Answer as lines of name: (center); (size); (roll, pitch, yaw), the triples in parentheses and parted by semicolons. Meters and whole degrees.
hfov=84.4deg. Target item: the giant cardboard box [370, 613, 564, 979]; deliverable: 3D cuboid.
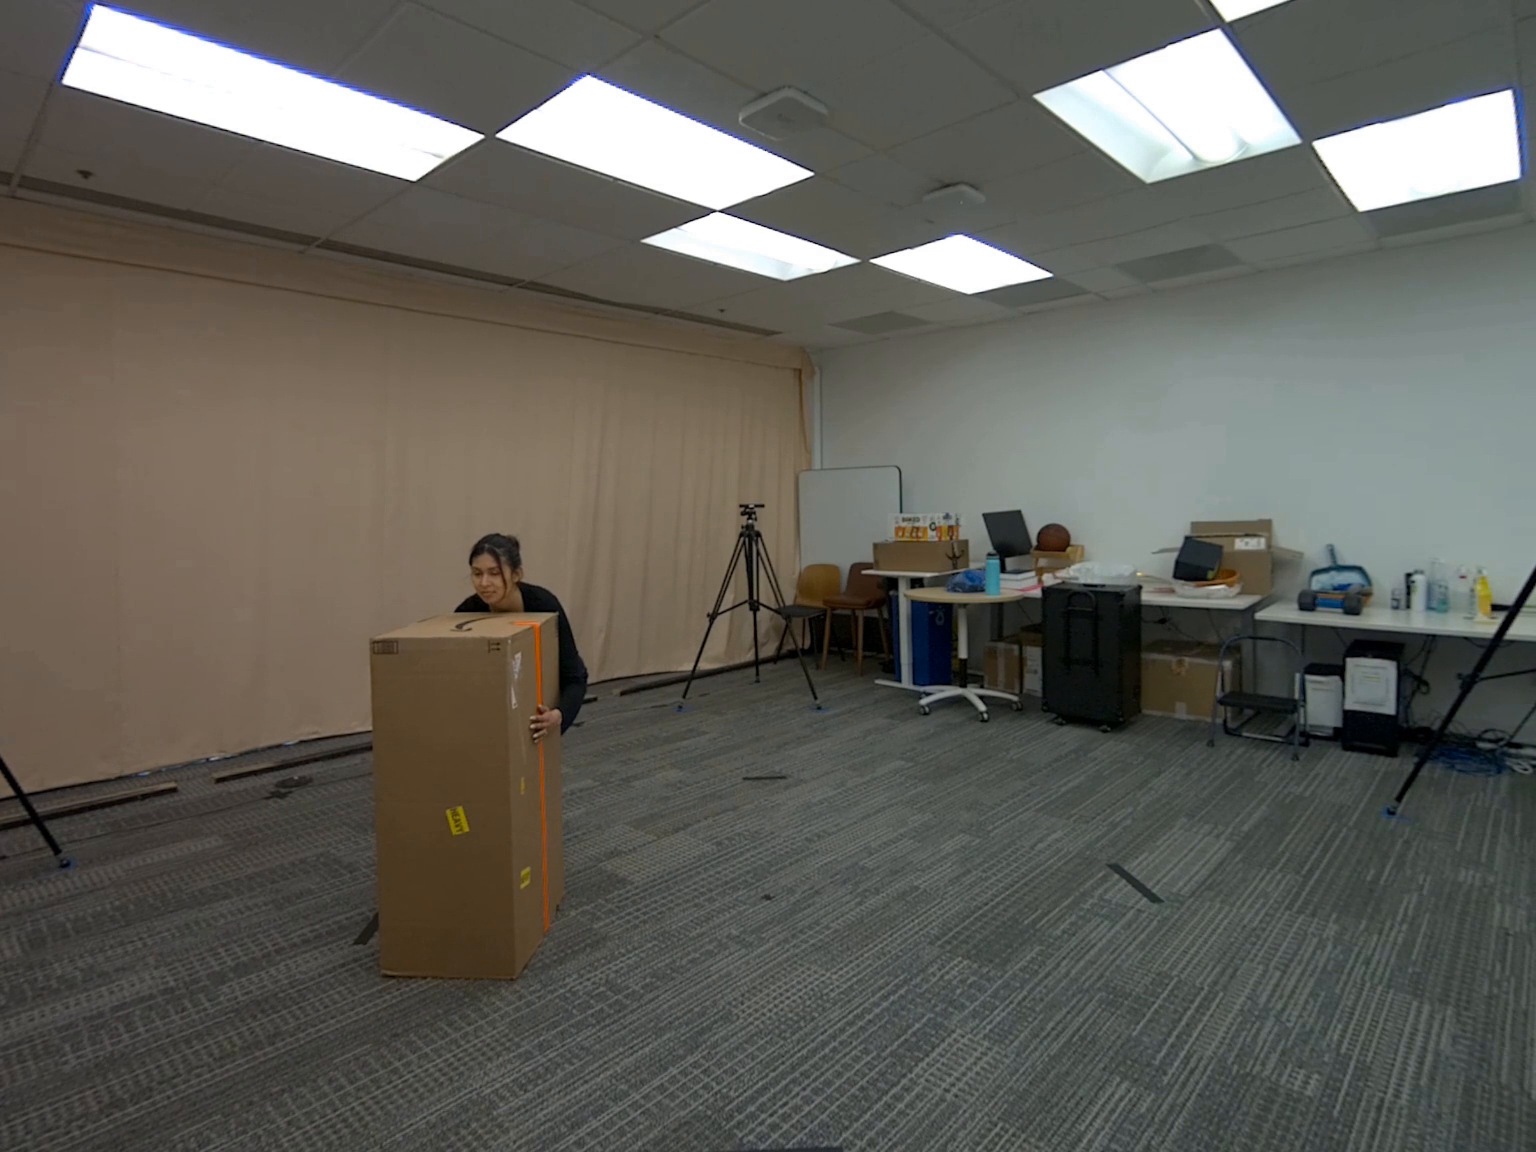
giant cardboard box: (-0.953, 0.669, 2.767); (0.428, 1.024, 0.576); (-1, 3, 2)
